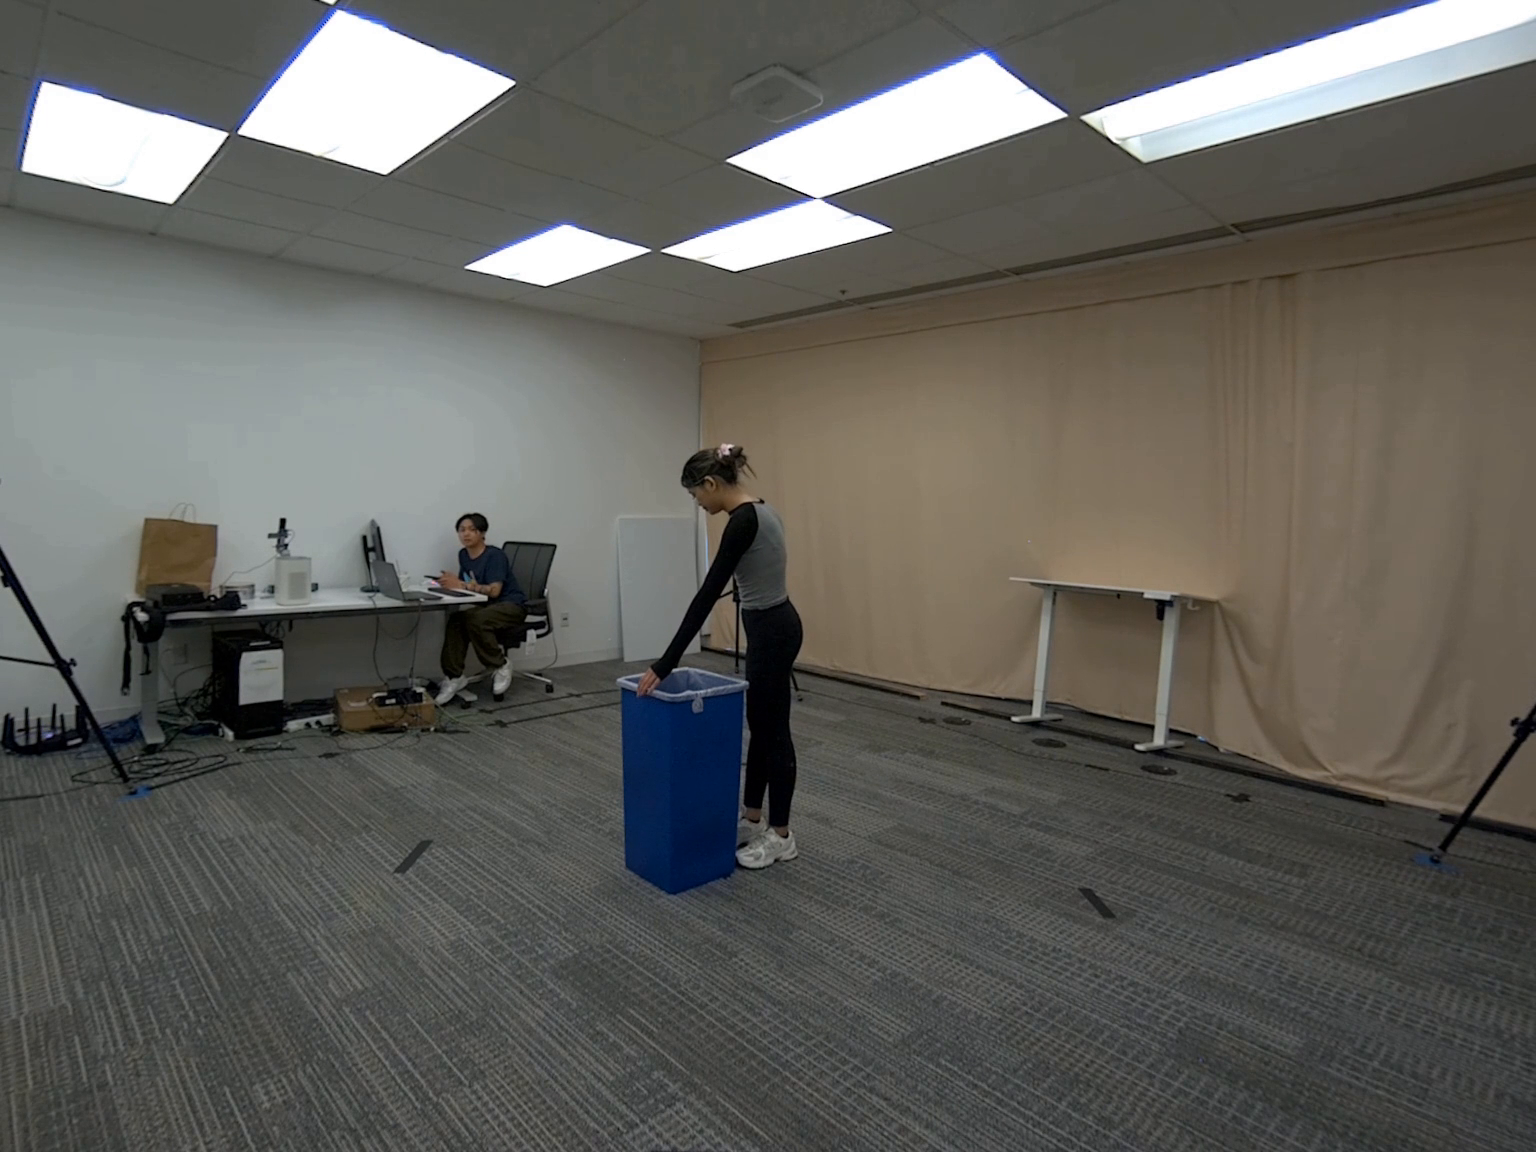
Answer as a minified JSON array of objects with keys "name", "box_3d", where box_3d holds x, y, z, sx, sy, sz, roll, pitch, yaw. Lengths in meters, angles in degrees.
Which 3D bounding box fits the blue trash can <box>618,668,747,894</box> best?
[{"name":"blue trash can","box_3d":[-0.338,0.743,3.132,0.369,0.712,0.383,-2,5,-42]}]
